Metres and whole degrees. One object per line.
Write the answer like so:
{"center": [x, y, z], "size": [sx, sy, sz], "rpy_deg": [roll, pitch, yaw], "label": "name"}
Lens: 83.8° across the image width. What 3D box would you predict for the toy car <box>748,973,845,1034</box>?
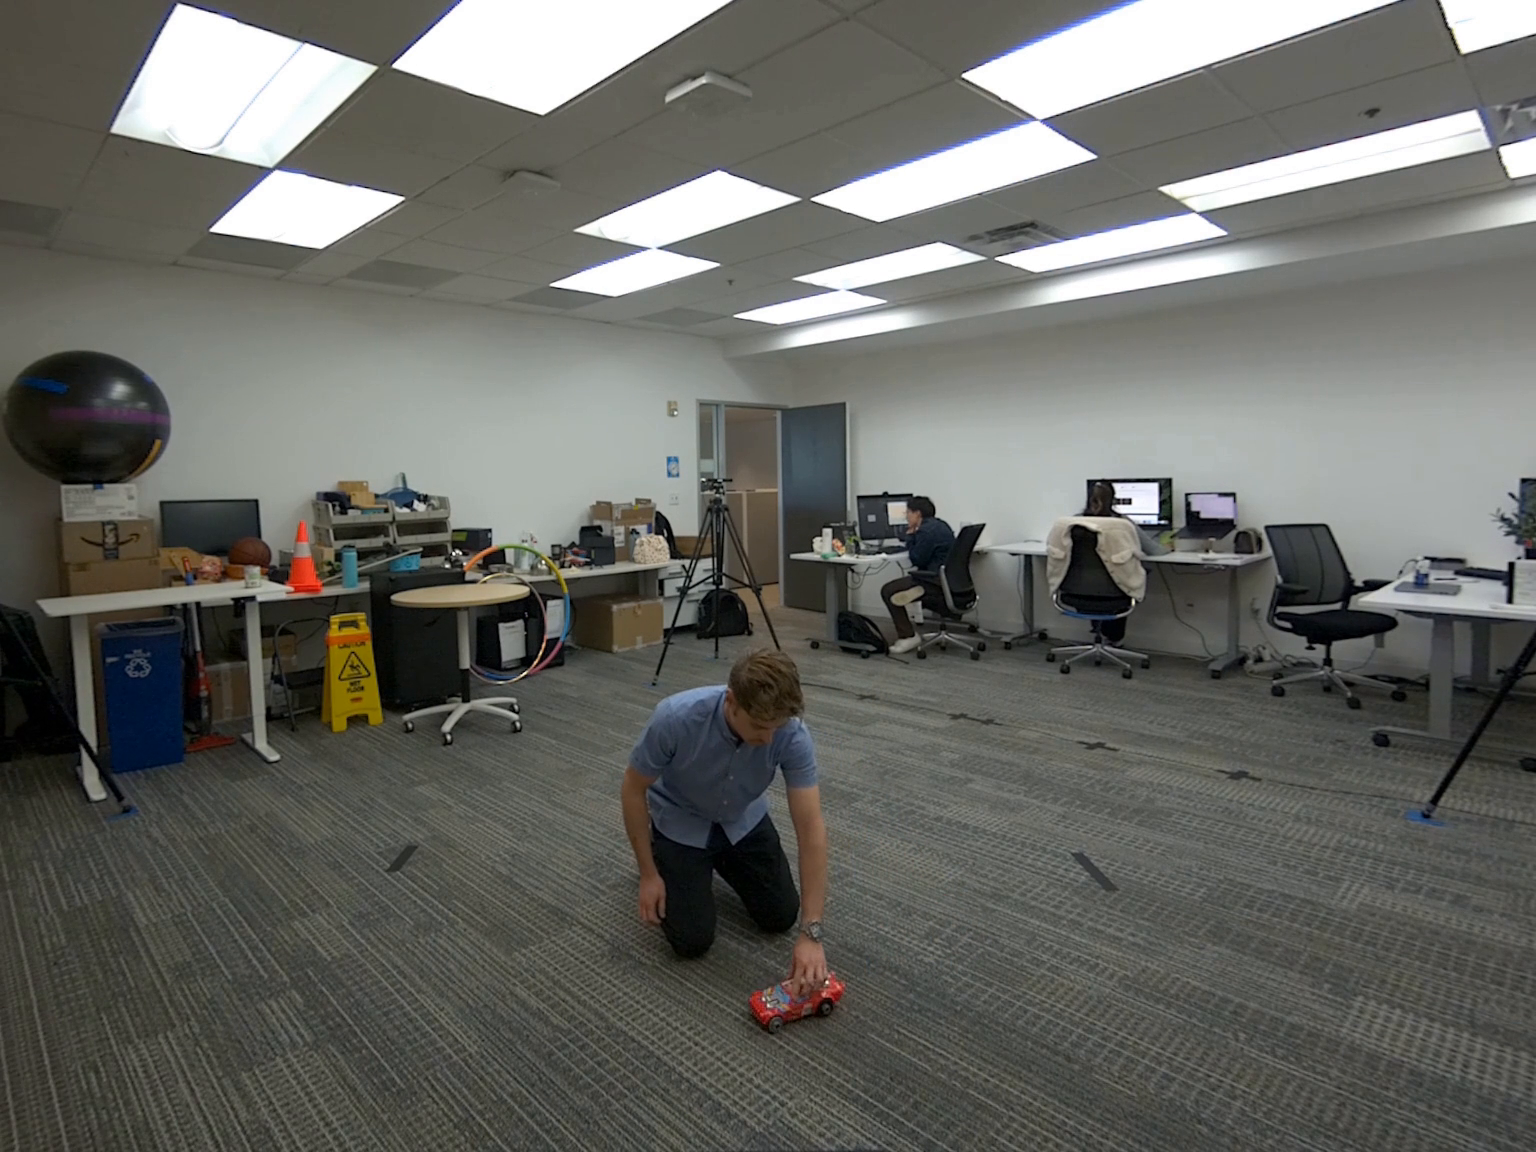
{"center": [0.088, 1.115, 2.243], "size": [0.251, 0.082, 0.133], "rpy_deg": [-17, 11, -22], "label": "toy car"}
